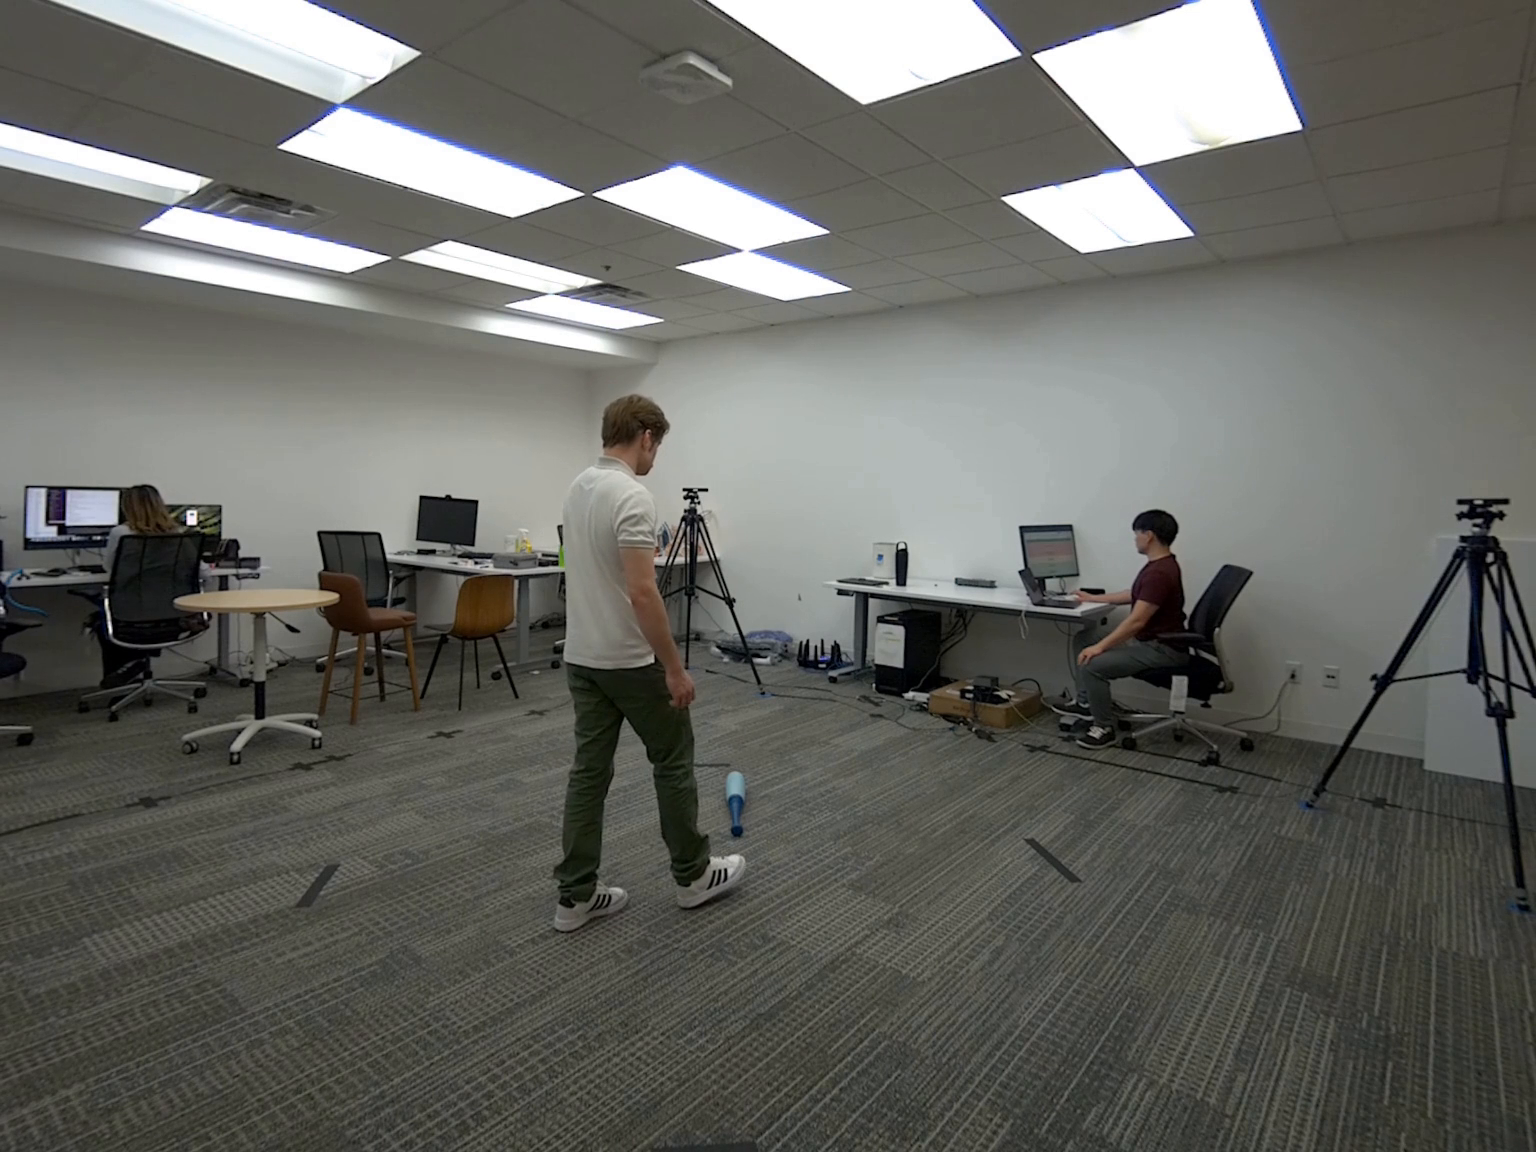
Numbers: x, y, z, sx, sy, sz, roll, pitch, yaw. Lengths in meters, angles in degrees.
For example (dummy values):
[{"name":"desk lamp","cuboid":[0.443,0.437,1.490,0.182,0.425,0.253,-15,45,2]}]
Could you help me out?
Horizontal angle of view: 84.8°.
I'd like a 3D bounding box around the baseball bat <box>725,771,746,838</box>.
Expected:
[{"name":"baseball bat","cuboid":[-0.149,0.981,3.667,0.089,0.088,0.547,1,9,-3]}]
